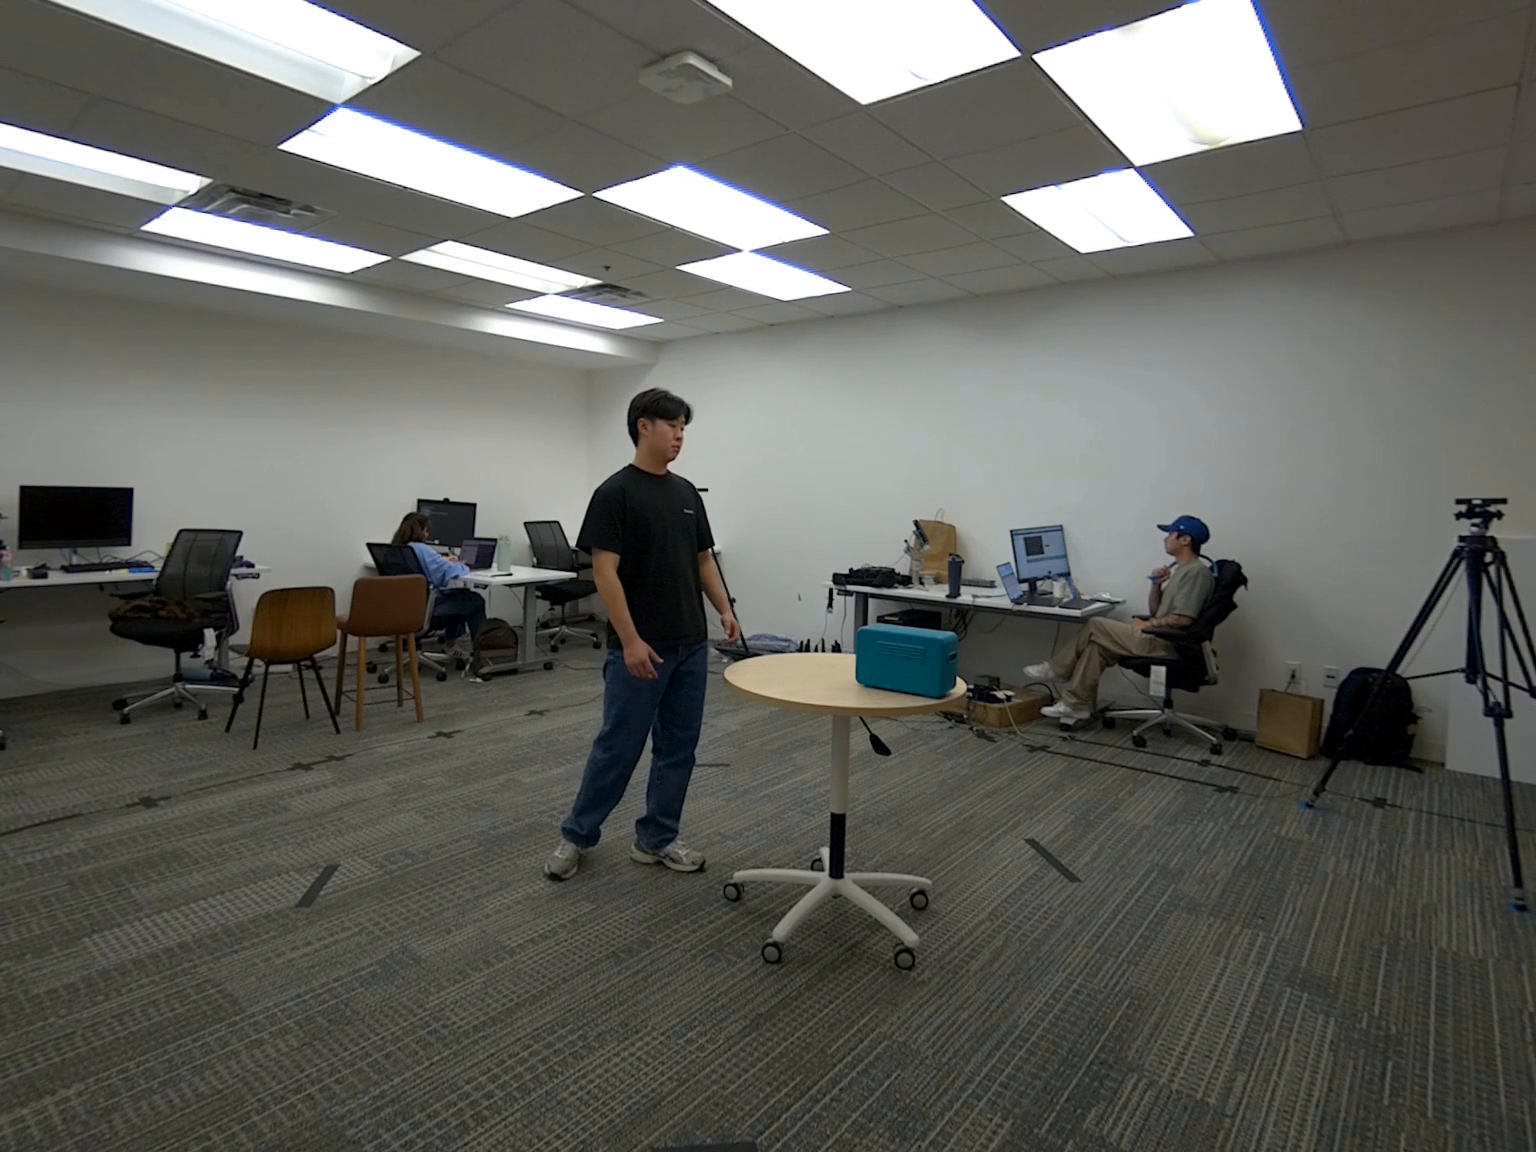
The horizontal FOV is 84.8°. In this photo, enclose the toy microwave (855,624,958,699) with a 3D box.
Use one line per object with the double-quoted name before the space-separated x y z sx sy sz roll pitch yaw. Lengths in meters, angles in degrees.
"toy microwave" 0.420 0.249 2.580 0.295 0.183 0.148 5 5 34
